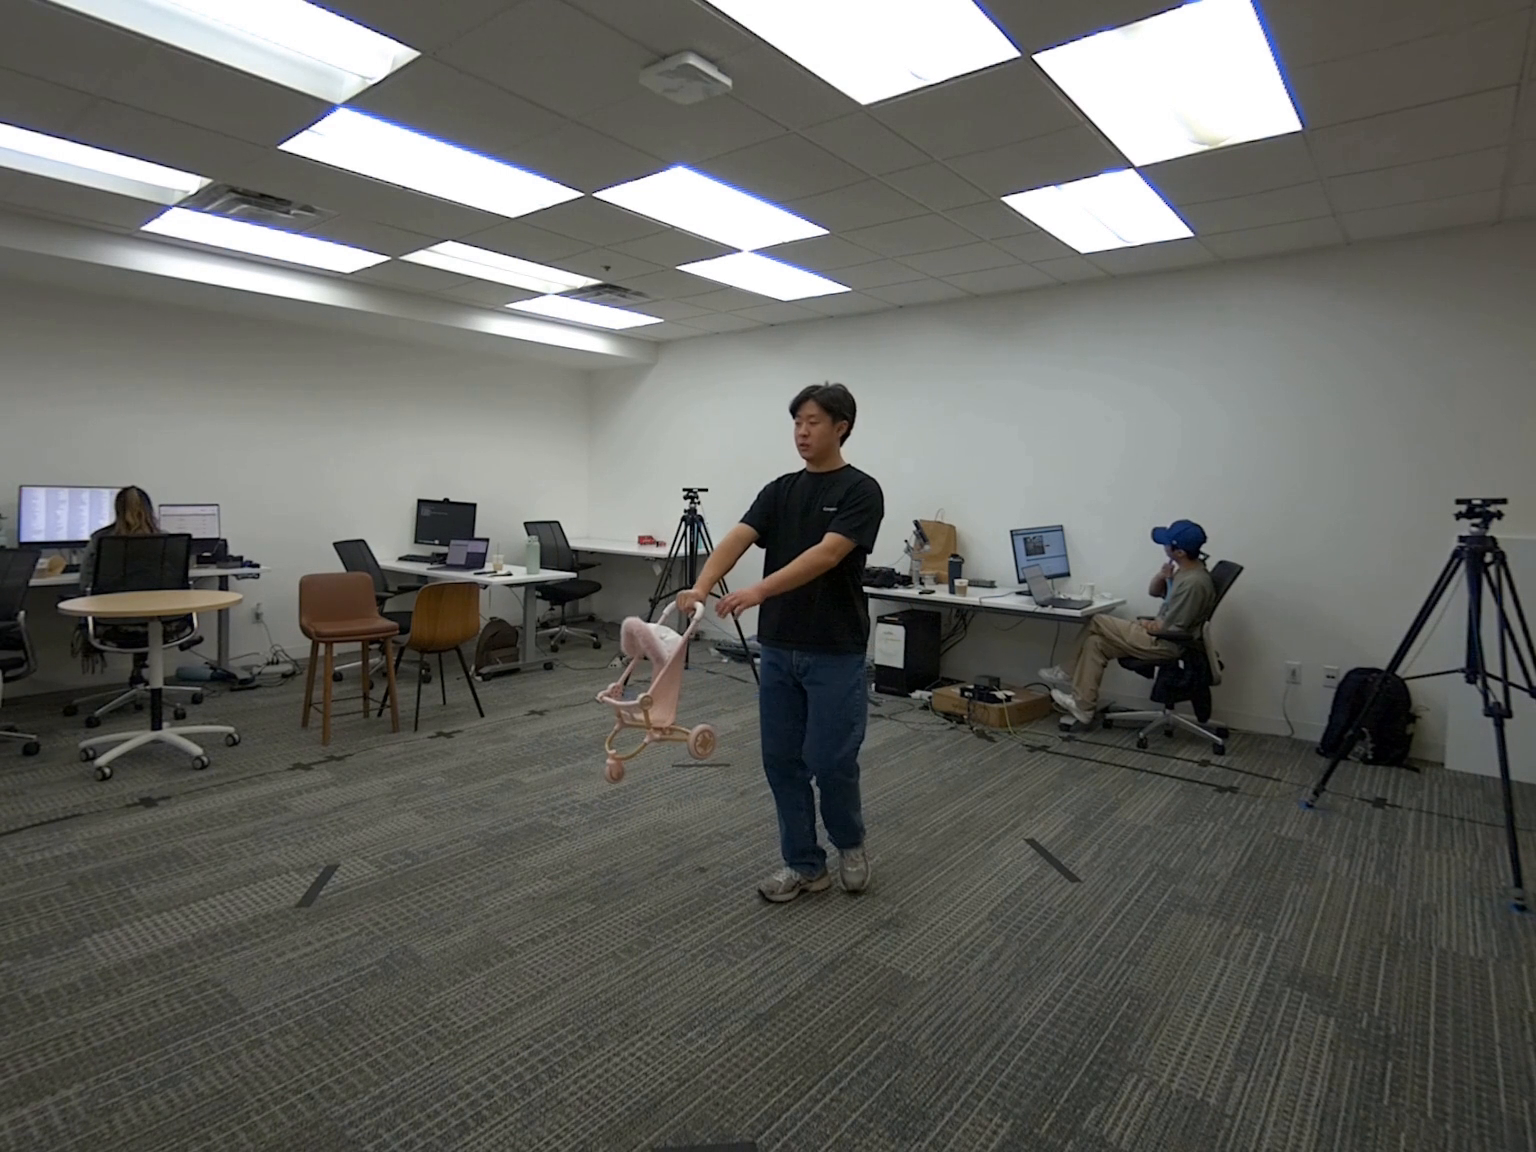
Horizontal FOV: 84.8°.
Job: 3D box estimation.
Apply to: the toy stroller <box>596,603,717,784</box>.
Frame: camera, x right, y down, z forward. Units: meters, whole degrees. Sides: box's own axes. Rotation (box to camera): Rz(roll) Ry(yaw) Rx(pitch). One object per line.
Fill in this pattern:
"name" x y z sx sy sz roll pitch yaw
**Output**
"toy stroller" -0.378 0.356 2.675 0.332 0.533 0.290 -3 4 -33
